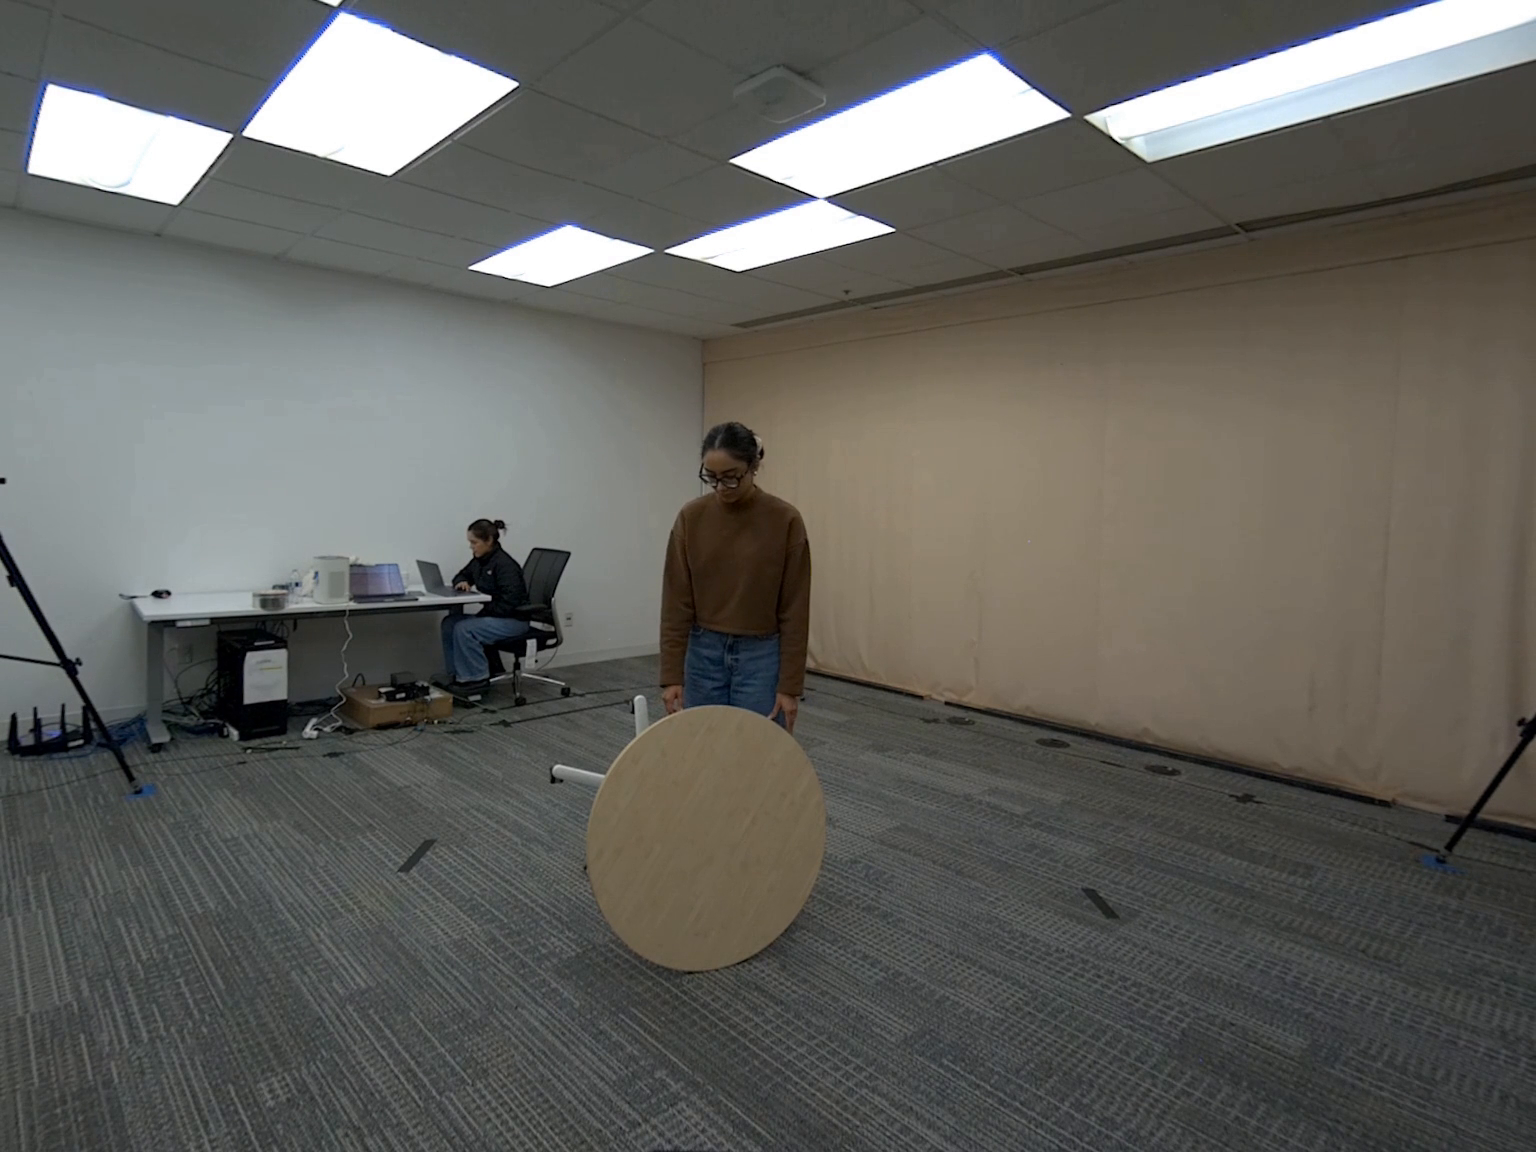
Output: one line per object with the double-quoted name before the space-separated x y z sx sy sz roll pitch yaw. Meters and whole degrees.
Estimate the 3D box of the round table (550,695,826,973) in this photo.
"round table" -0.342 0.790 2.871 0.750 0.766 0.806 -1 -3 -25
